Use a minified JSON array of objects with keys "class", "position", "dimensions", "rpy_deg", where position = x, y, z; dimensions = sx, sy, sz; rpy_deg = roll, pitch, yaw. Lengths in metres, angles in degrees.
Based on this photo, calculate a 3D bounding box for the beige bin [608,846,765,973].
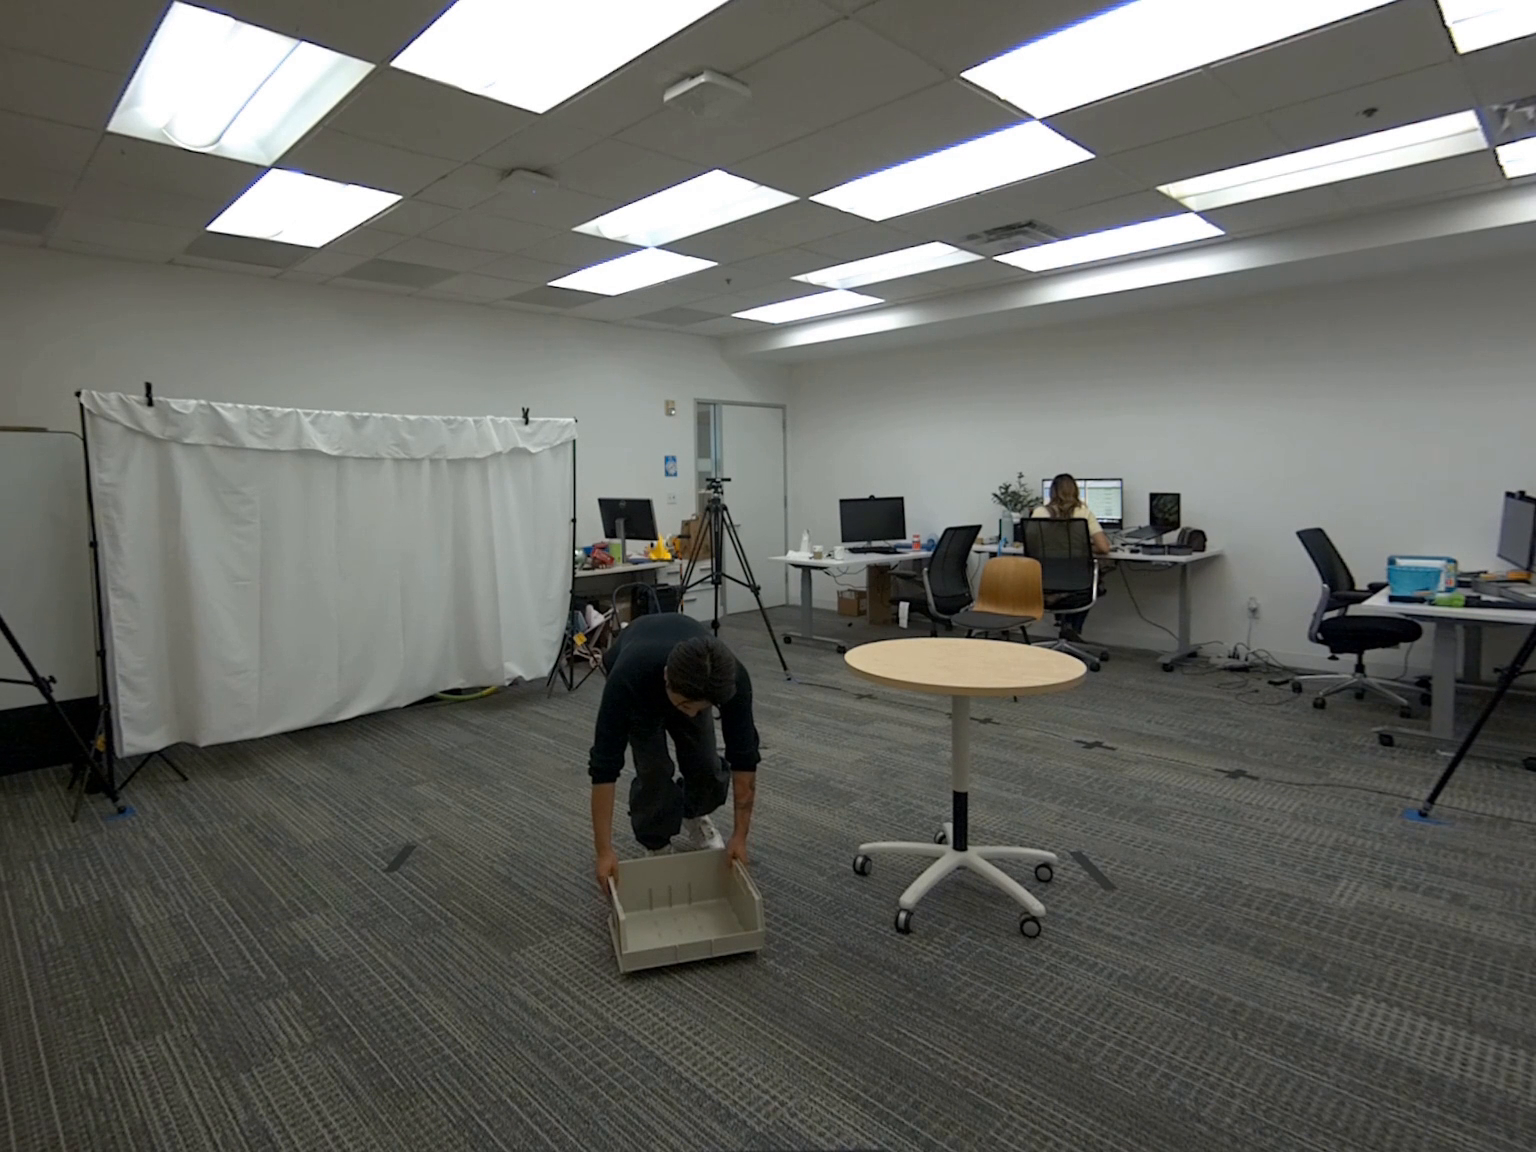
[{"class":"beige bin","position":[-0.263,1.020,2.599],"dimensions":[0.416,0.188,0.384],"rpy_deg":[-5,7,-16]}]
